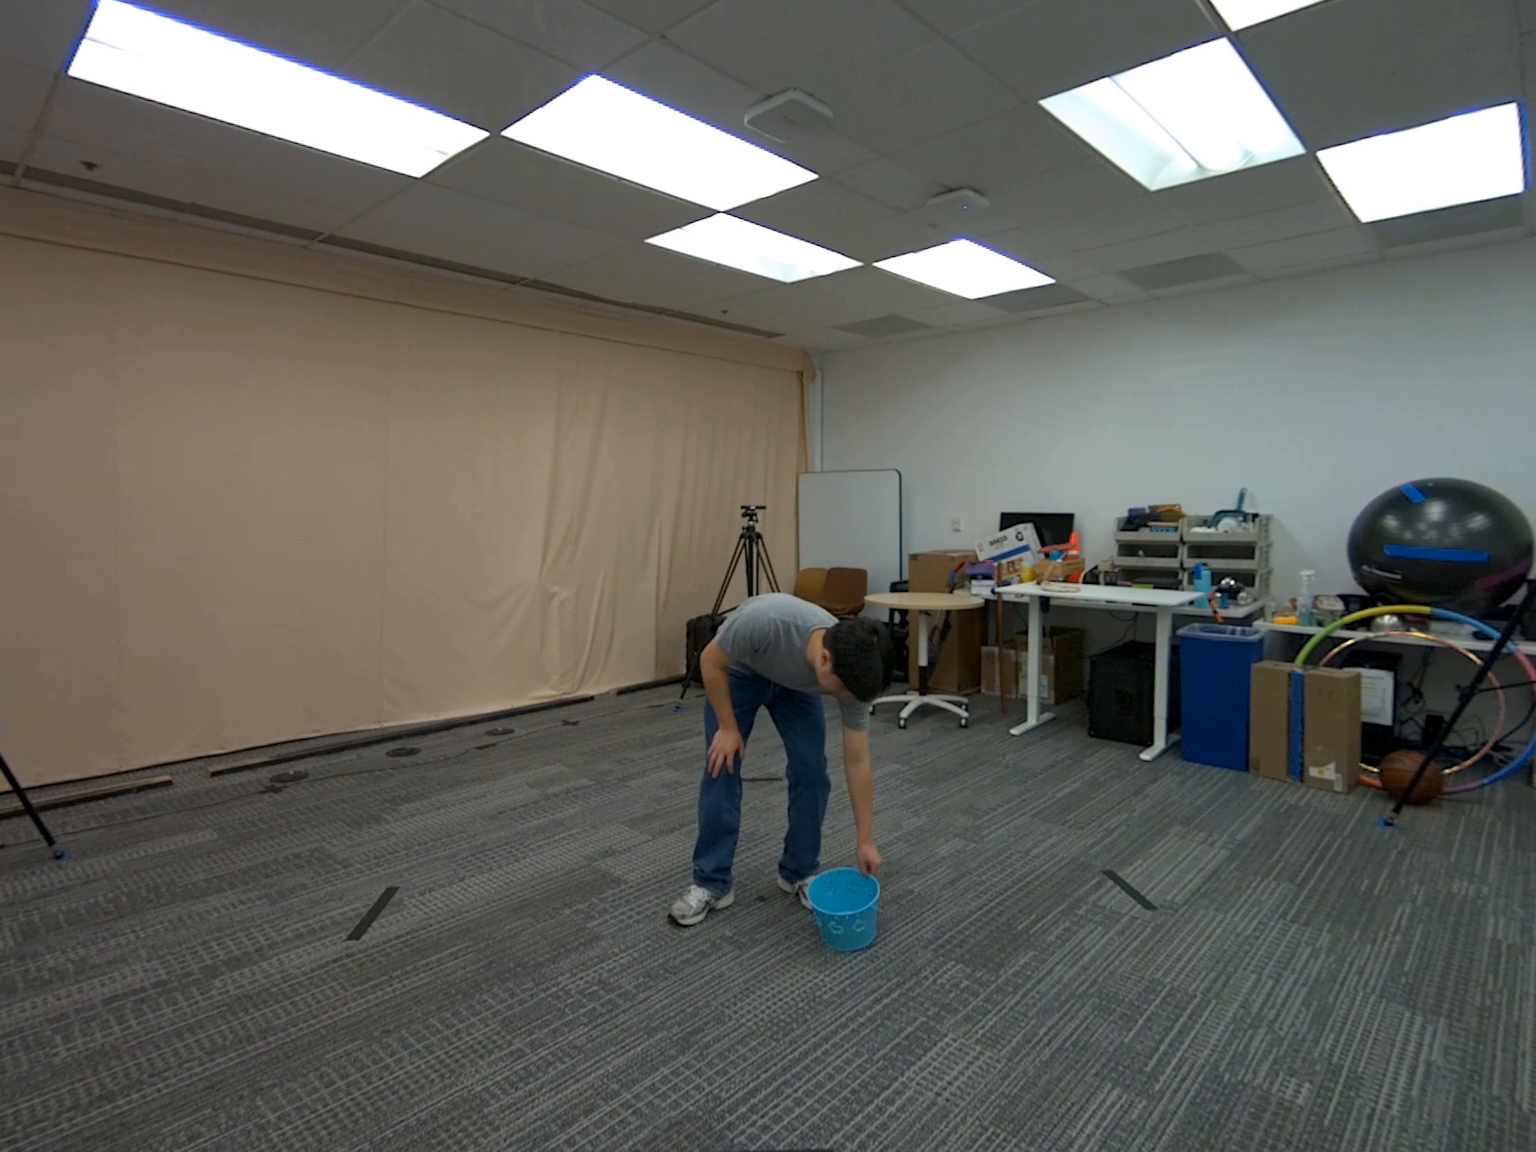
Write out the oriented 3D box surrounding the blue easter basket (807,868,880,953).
[{"bbox_3d":[0.254,1.076,2.692,0.244,0.154,0.246,-8,16,0],"label":"blue easter basket"}]
